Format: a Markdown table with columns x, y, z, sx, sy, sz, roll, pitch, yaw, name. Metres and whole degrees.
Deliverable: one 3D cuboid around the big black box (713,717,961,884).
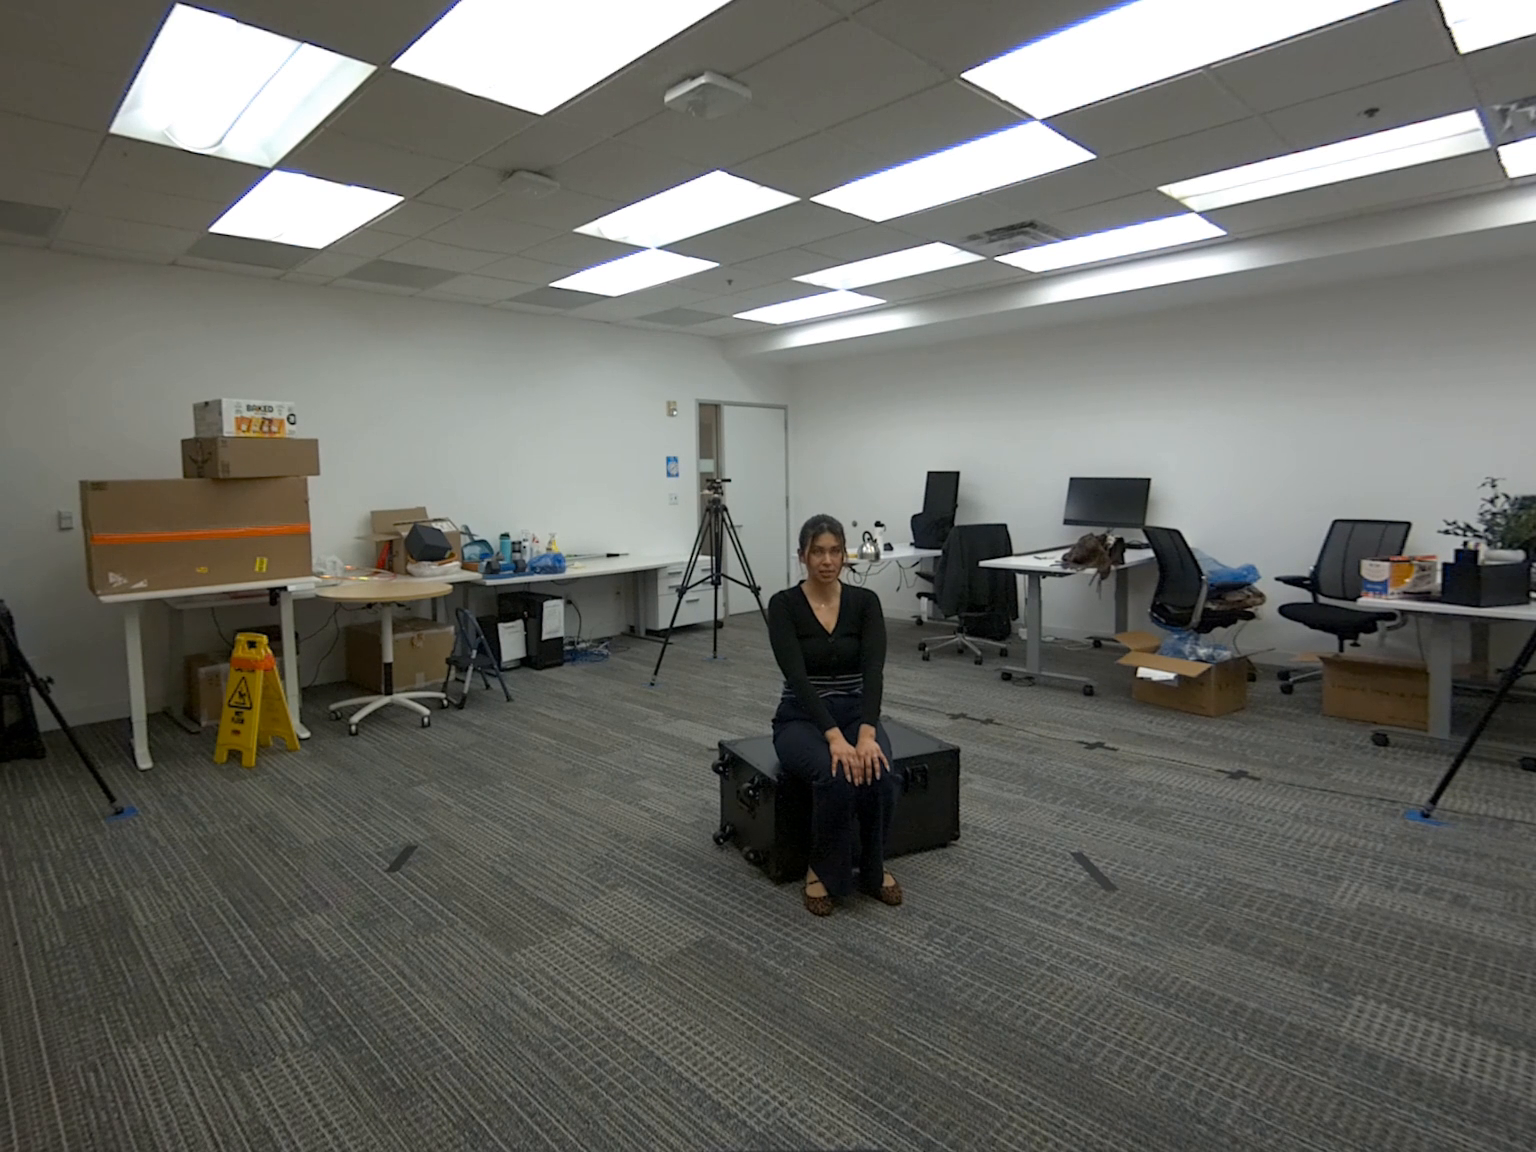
| x | y | z | sx | sy | sz | roll | pitch | yaw | name |
| --- | --- | --- | --- | --- | --- | --- | --- | --- | --- |
| 0.293 | 0.827 | 3.290 | 0.844 | 0.394 | 0.534 | -4 | 6 | -25 | big black box |
